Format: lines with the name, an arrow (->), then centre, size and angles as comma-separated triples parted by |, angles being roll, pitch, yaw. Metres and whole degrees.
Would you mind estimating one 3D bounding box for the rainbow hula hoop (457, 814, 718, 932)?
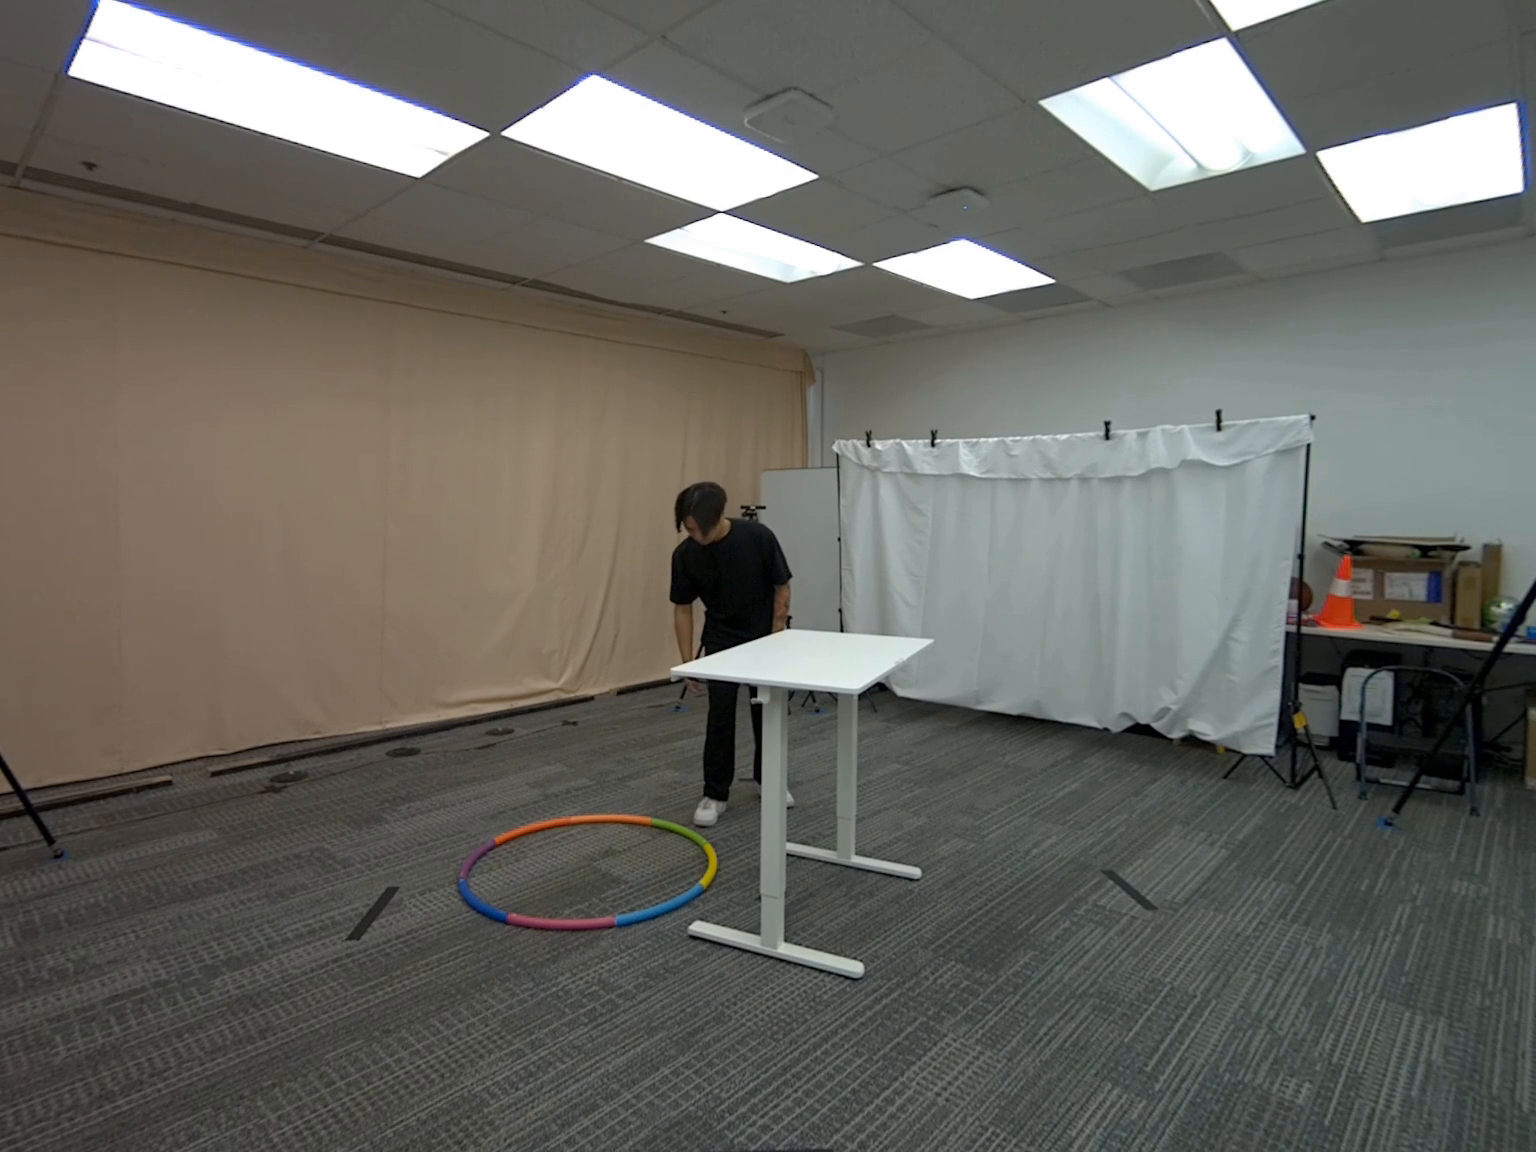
rainbow hula hoop -> -0.682, 1.100, 3.243 | 0.978, 0.035, 0.982 | 0, 5, -2
